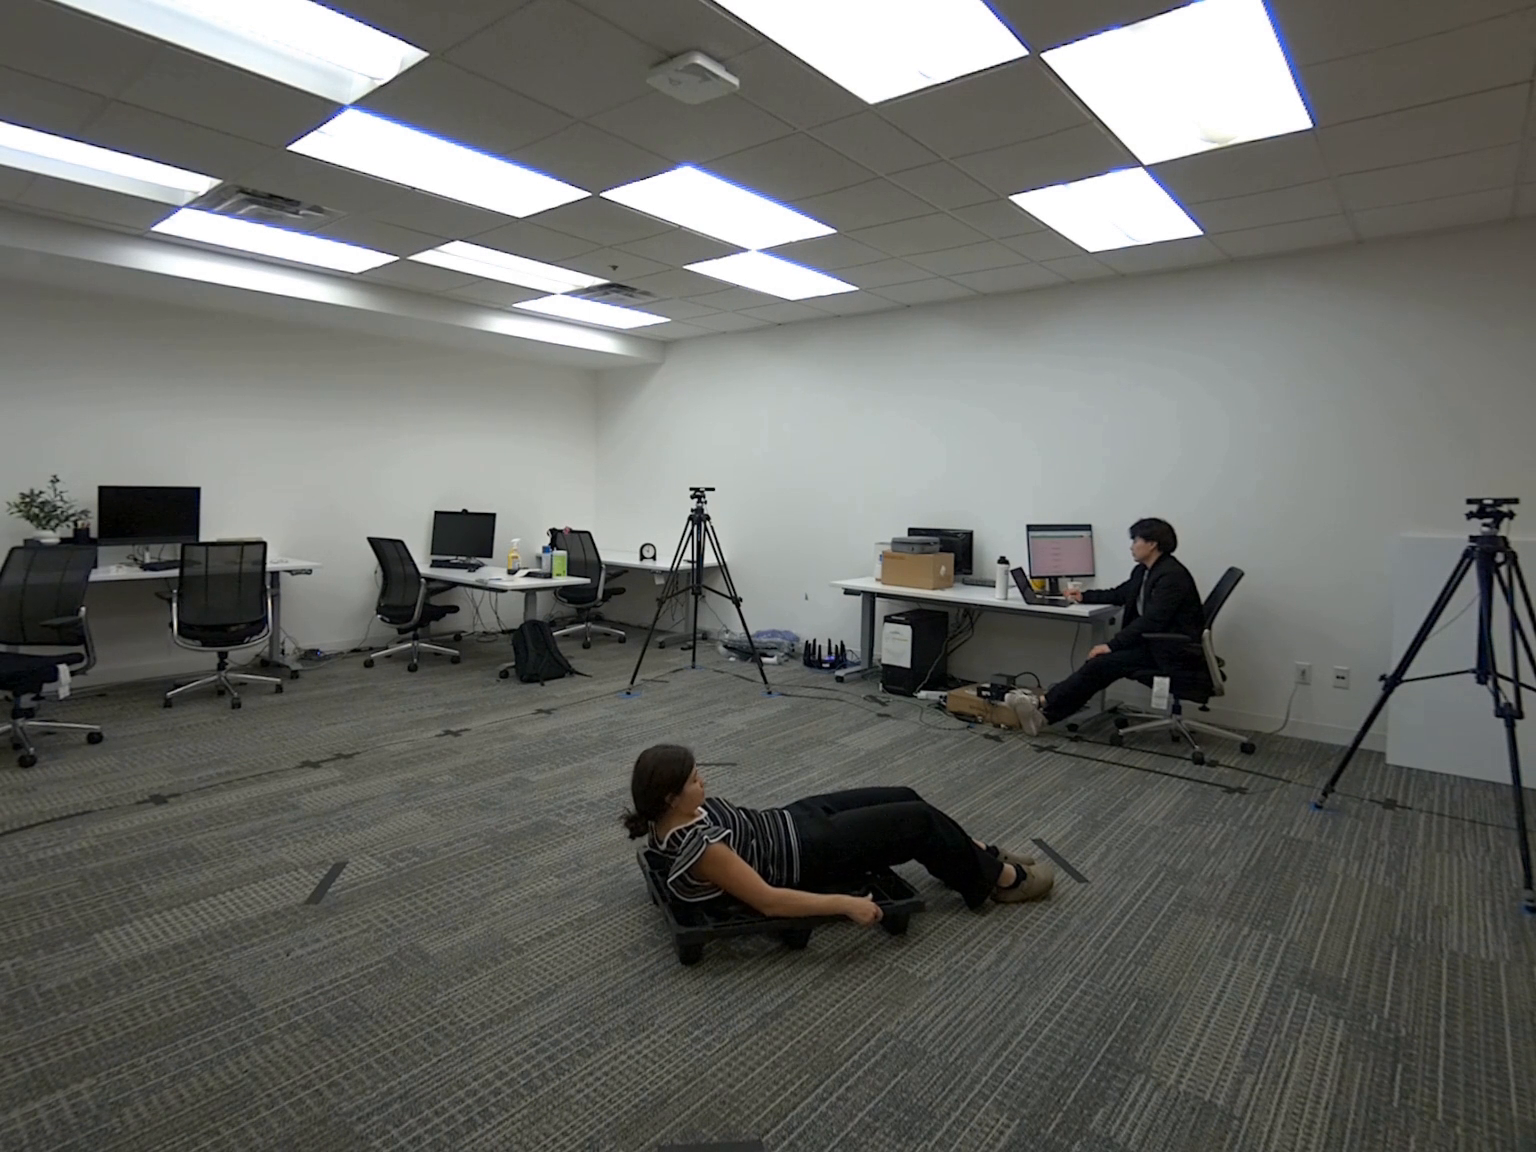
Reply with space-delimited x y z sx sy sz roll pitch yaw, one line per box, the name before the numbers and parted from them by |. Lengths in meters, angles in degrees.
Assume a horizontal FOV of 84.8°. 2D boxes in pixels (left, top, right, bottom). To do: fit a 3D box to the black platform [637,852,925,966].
black platform | 0.011 1.034 2.797 0.791 0.143 0.618 0 5 -18
